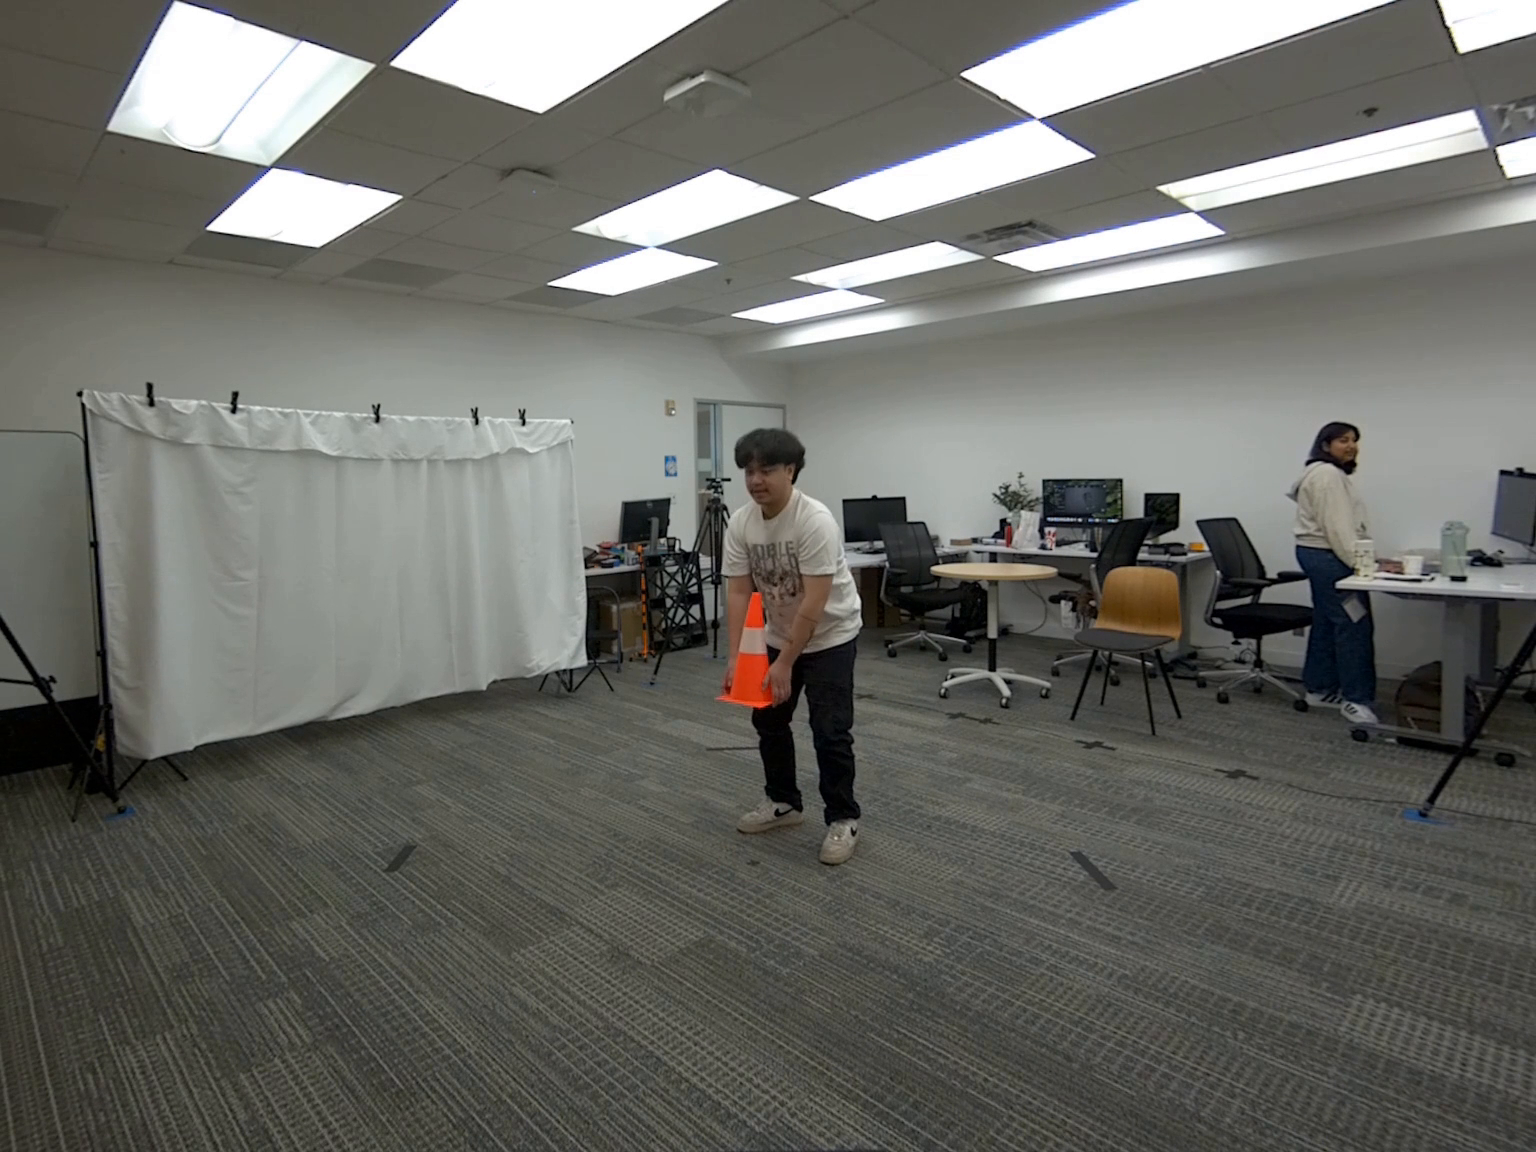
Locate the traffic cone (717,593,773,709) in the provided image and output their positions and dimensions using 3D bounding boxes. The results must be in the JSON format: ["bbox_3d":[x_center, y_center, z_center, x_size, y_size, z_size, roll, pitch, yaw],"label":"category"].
[{"bbox_3d":[-0.052,0.257,3.079,0.198,0.384,0.211,0,1,-38],"label":"traffic cone"}]
